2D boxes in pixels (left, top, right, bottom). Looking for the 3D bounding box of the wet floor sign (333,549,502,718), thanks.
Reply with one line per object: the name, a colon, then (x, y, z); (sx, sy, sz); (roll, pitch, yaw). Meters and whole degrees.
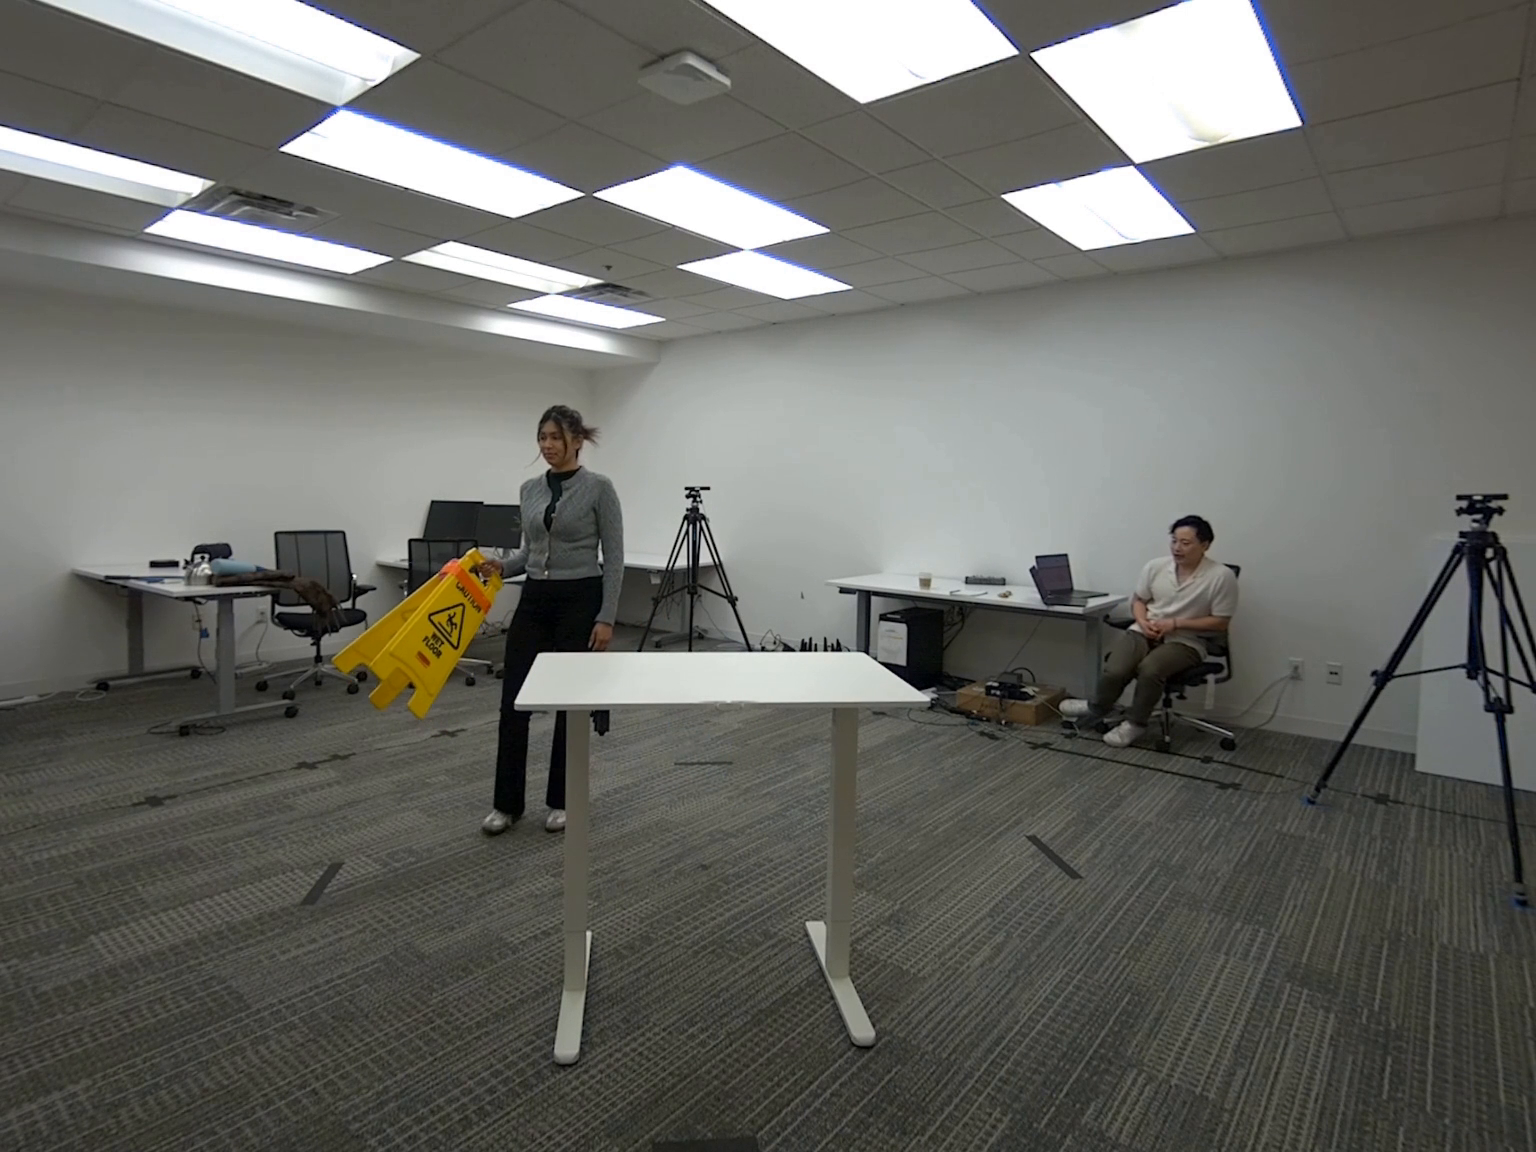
wet floor sign: (-1.264, 0.184, 3.191); (0.298, 0.272, 0.650); (-2, 43, 39)
